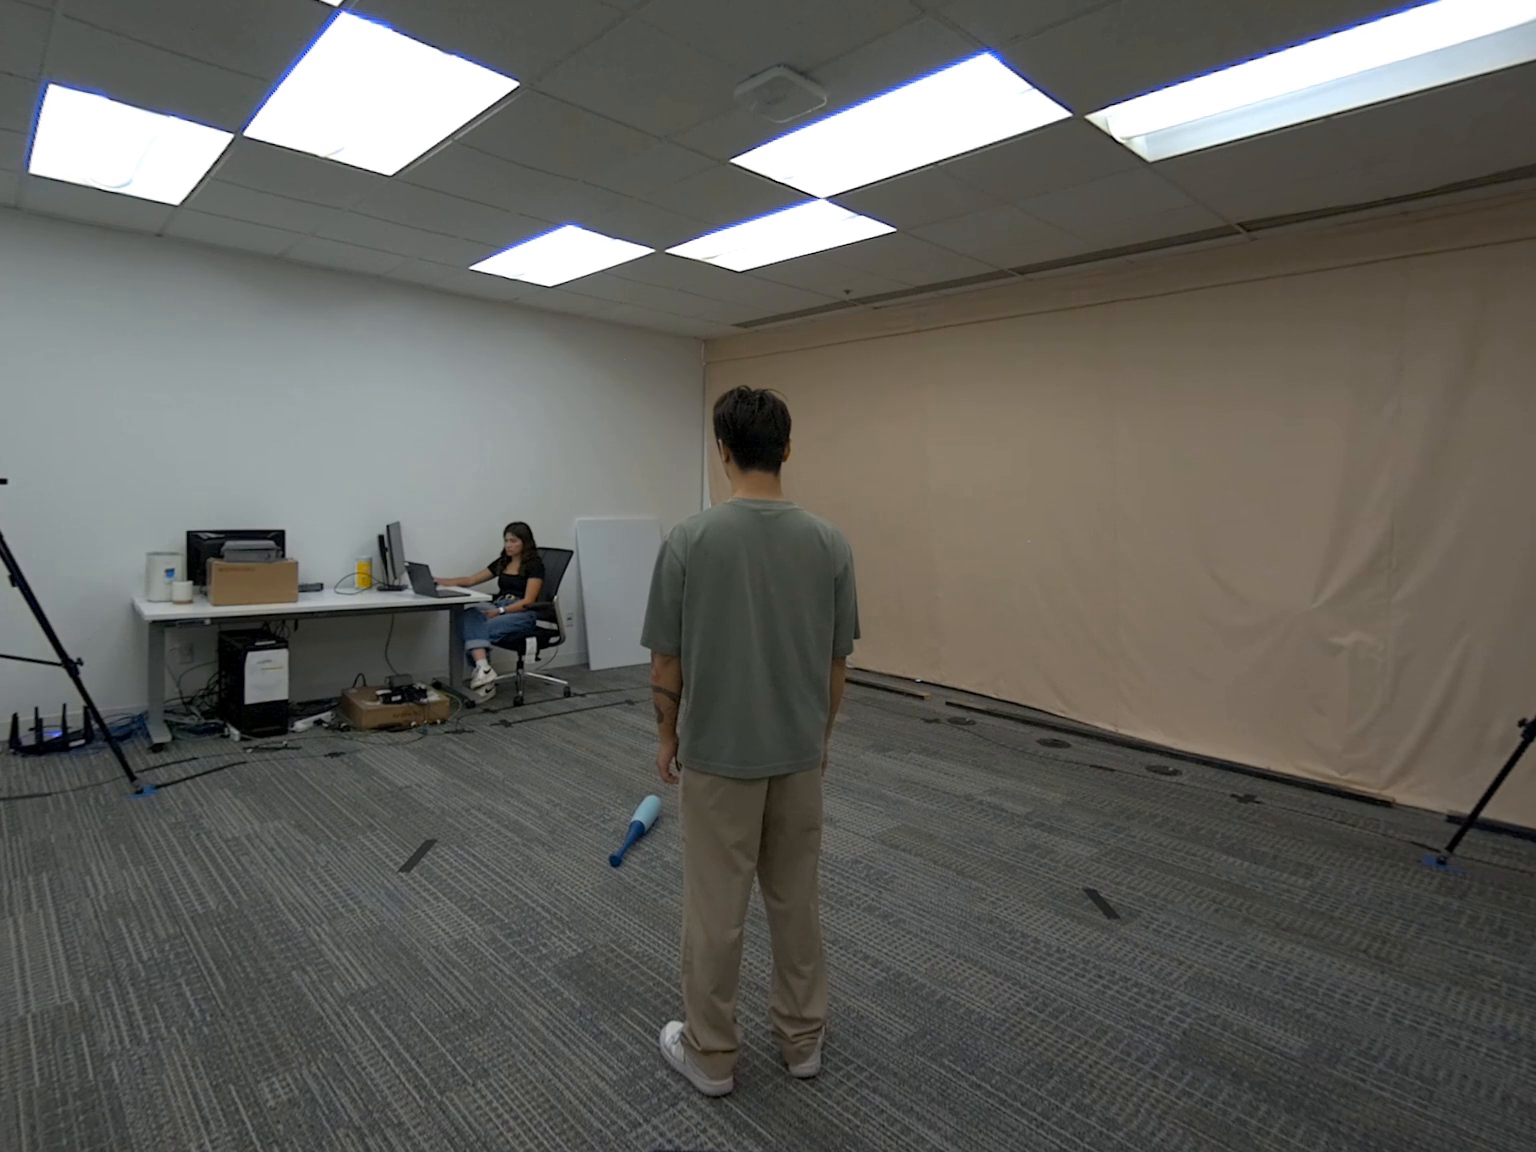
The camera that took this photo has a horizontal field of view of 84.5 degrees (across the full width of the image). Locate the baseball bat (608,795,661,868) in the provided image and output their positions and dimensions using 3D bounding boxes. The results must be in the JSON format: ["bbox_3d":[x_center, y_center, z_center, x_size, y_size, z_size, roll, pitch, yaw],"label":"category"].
[{"bbox_3d":[-0.544,1.035,3.413,0.089,0.088,0.542,2,9,7],"label":"baseball bat"}]
